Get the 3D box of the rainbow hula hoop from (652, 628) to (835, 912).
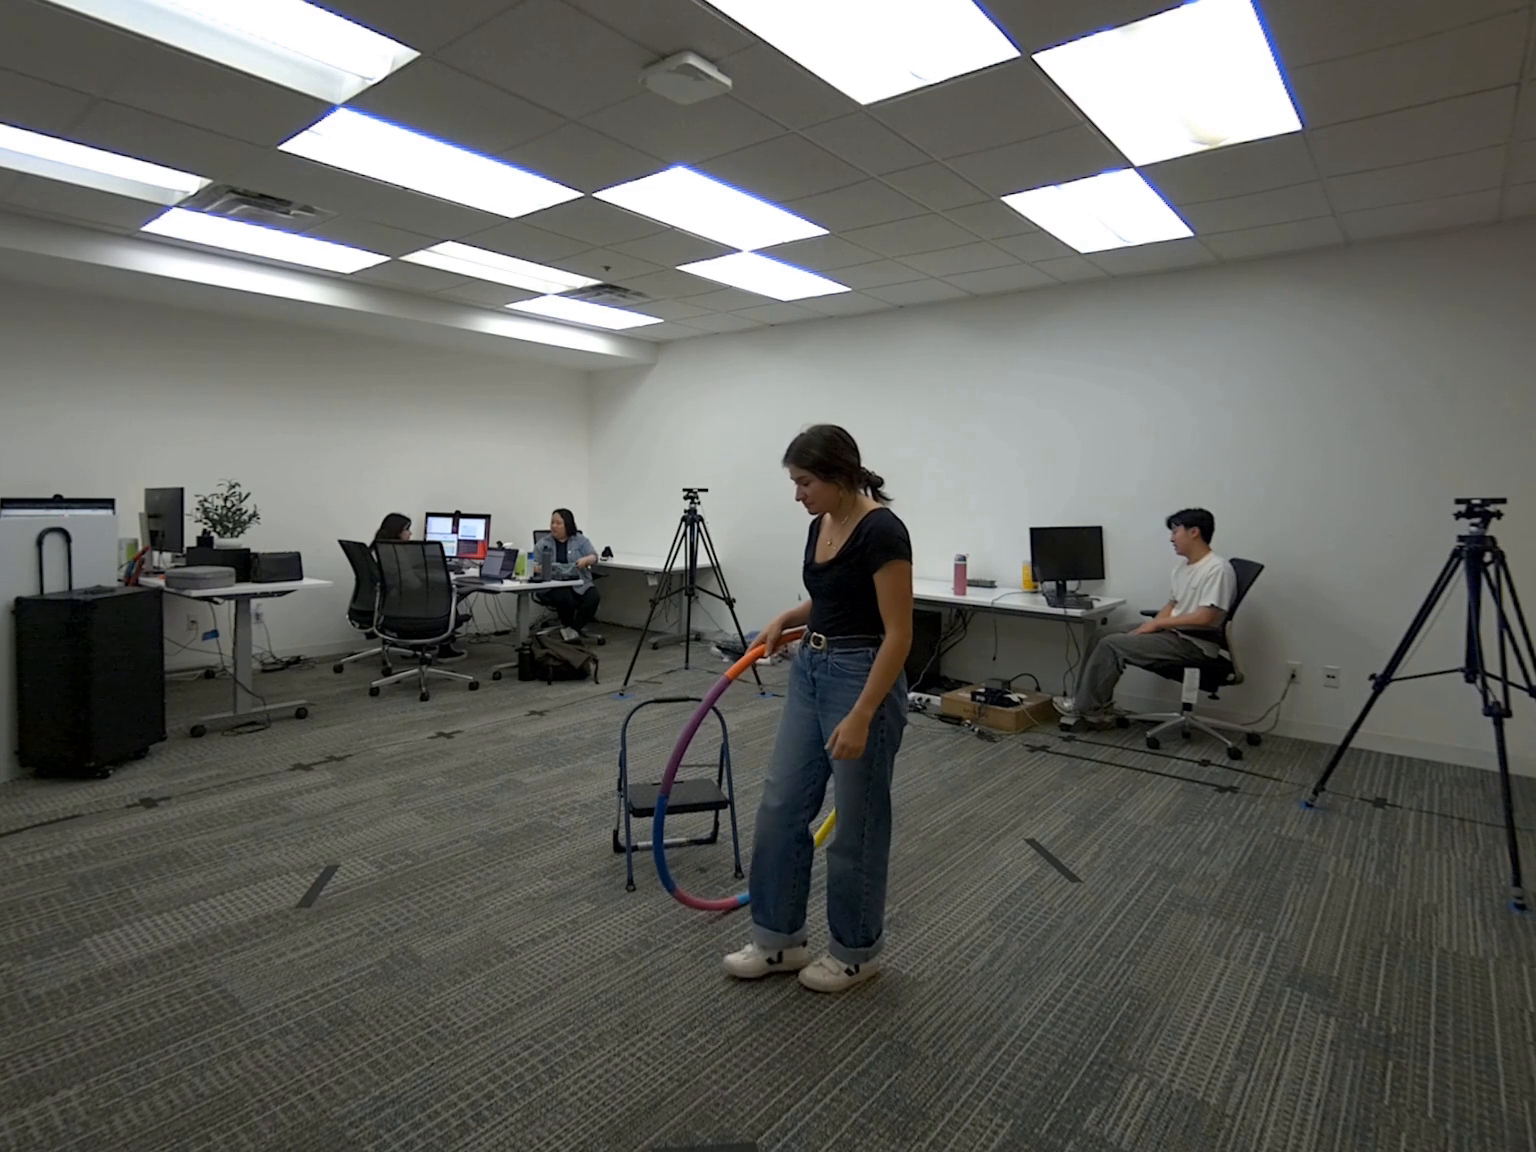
[{"bbox_3d":[0.013,0.625,2.752,0.949,0.968,0.037,-3,20,-44],"label":"rainbow hula hoop"}]
